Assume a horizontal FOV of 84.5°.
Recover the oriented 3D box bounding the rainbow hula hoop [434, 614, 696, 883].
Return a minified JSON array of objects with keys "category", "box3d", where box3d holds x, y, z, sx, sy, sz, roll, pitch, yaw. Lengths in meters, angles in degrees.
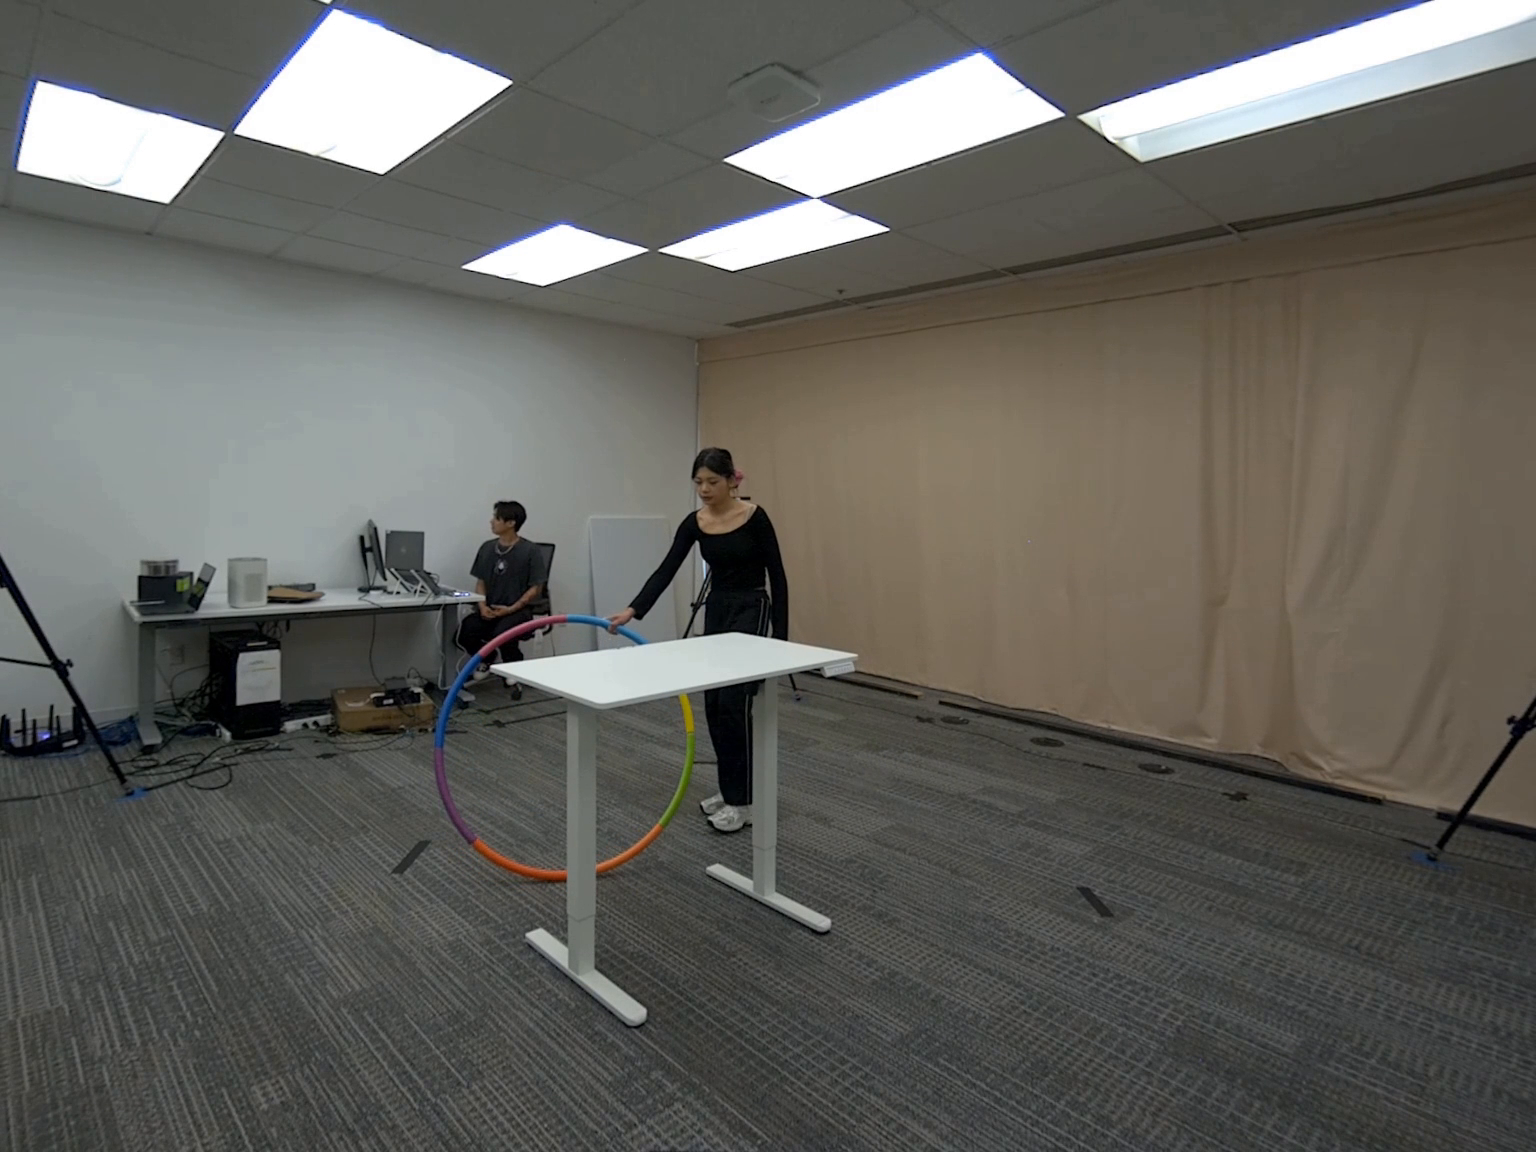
[{"category":"rainbow hula hoop","box3d":[-0.762,0.620,3.209,0.967,0.994,0.035,0,-21,-14]}]
